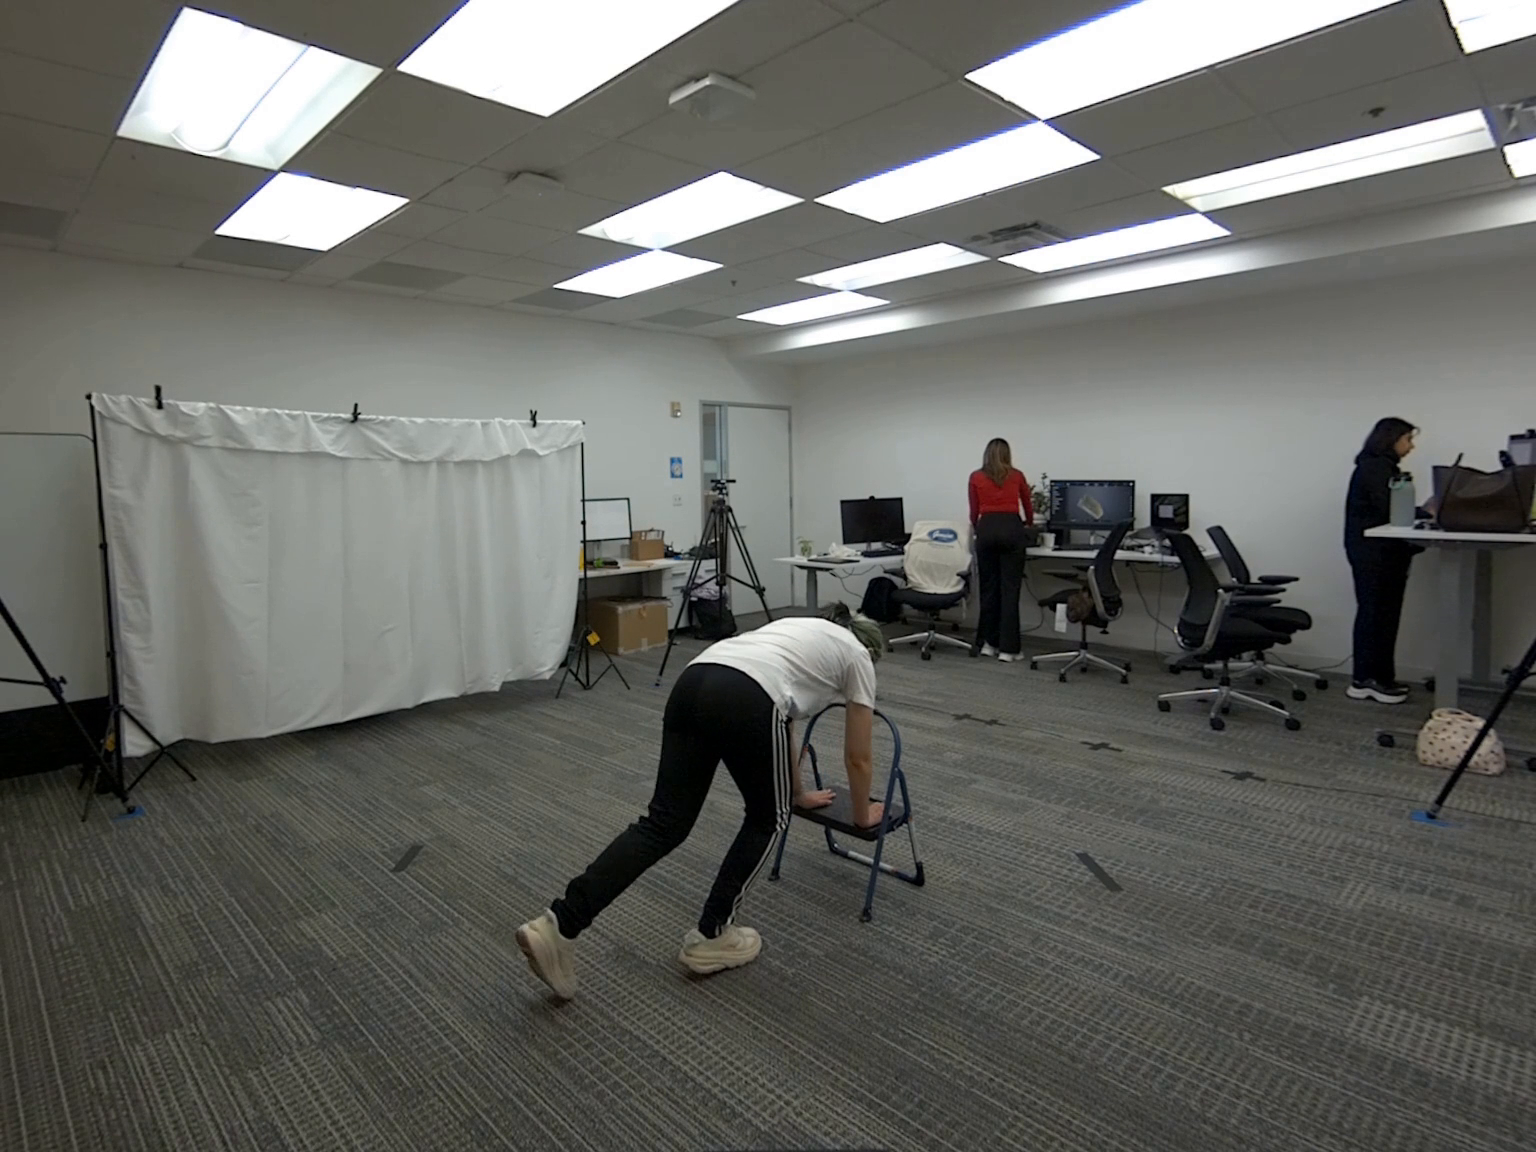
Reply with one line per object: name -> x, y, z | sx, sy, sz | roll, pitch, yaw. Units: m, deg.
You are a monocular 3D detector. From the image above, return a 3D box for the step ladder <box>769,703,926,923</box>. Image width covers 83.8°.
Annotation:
step ladder -> 0.270, 0.757, 2.937 | 0.444, 0.604, 0.340 | 4, 6, 45
